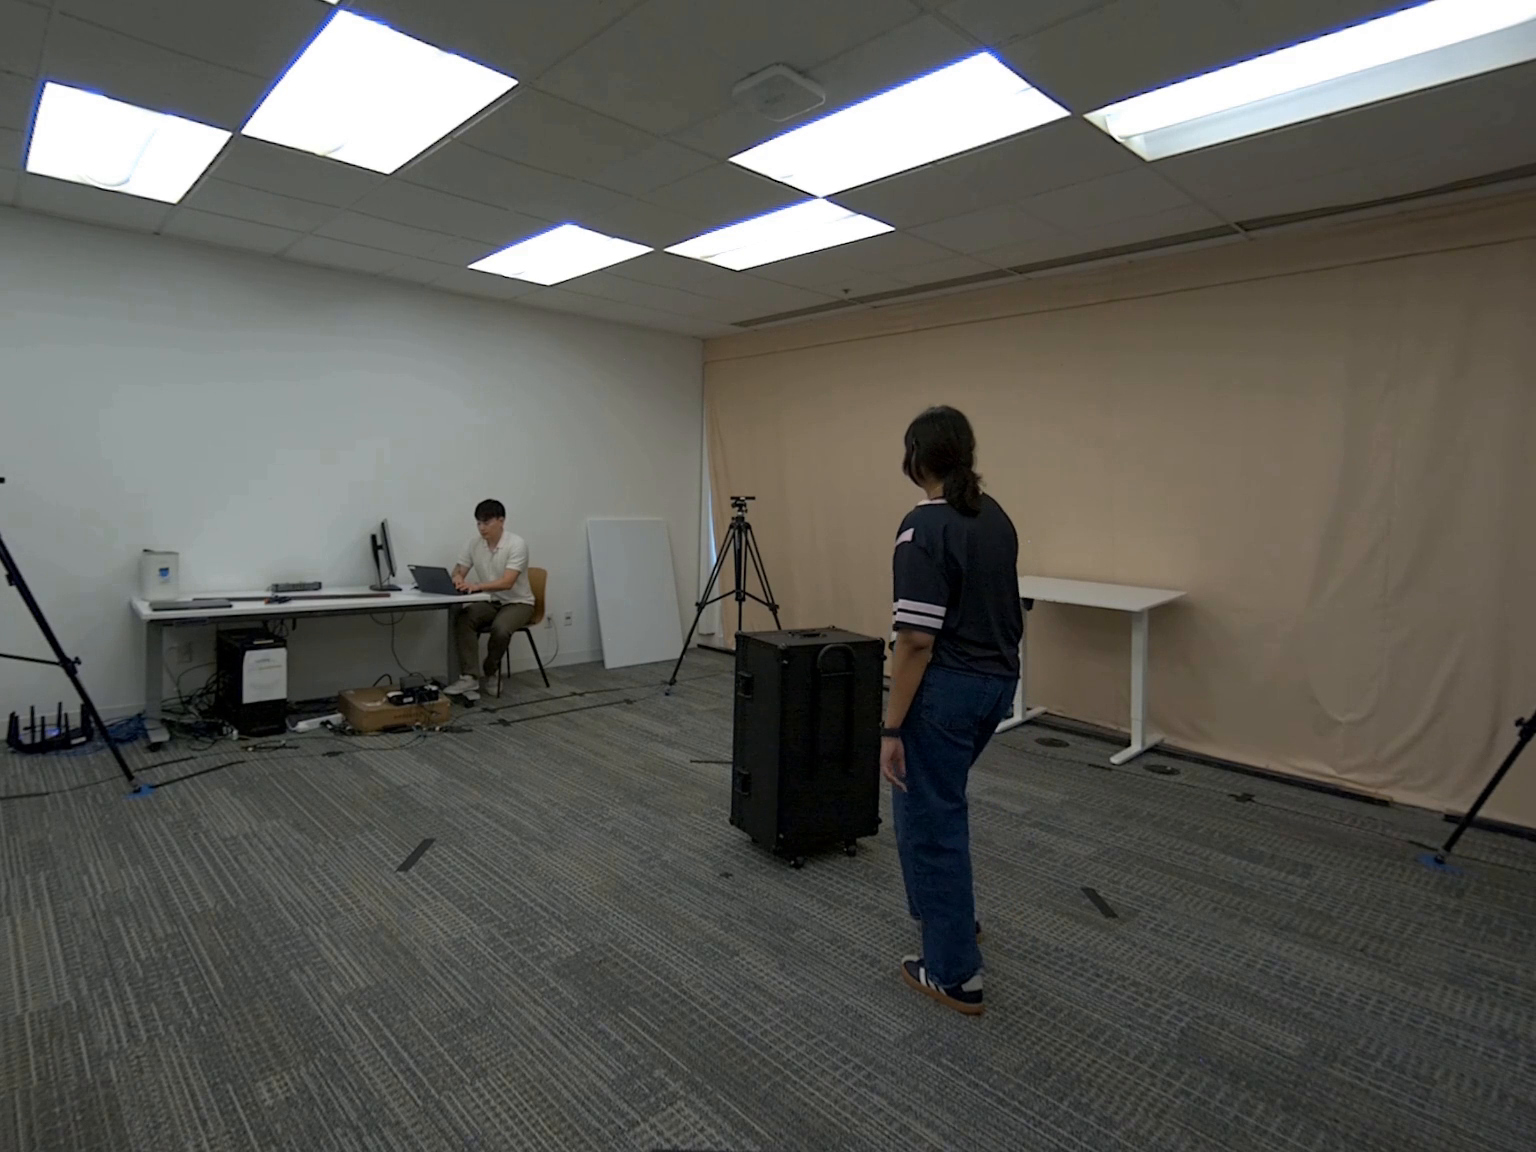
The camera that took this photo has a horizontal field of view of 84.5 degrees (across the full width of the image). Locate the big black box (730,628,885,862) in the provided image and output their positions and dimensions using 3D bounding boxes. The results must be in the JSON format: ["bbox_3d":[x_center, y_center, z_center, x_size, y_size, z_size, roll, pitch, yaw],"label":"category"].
[{"bbox_3d":[0.155,0.667,3.366,0.513,0.867,0.394,0,3,-31],"label":"big black box"}]
